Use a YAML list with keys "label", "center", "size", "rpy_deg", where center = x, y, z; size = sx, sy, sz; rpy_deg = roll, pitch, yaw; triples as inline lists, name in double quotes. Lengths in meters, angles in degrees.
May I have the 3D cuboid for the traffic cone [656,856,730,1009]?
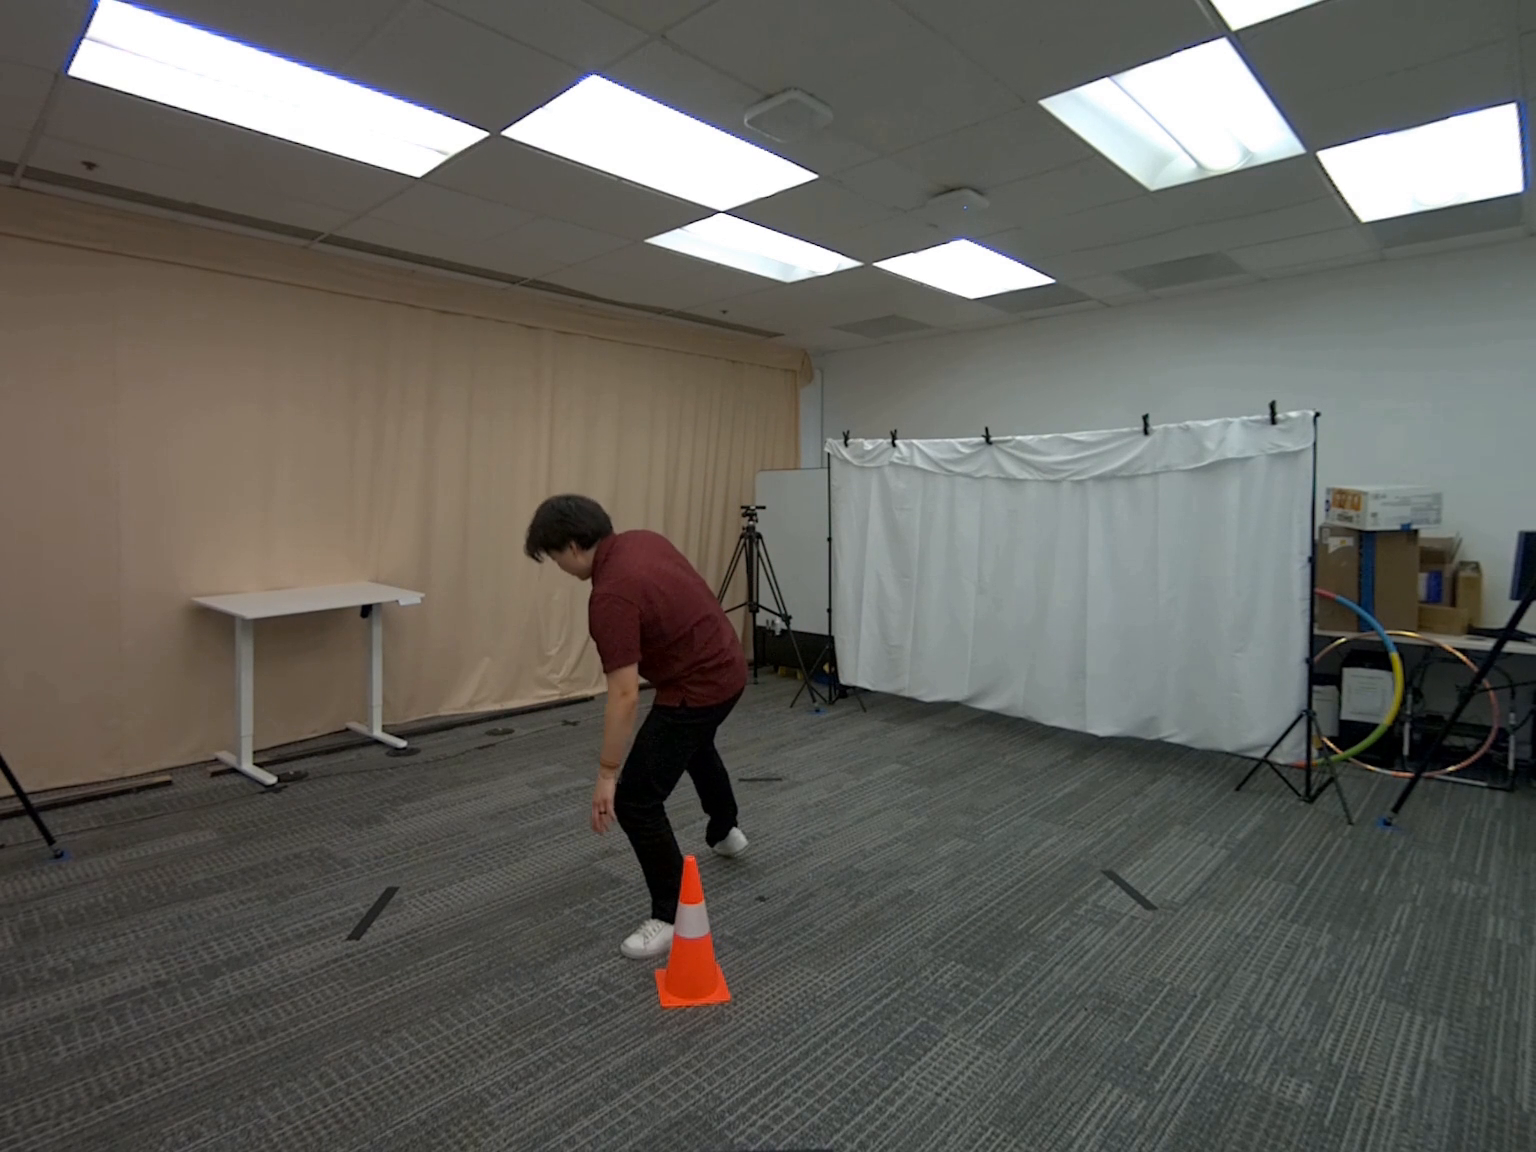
- label: "traffic cone"
  center: [-0.214, 1.000, 2.442]
  size: [0.200, 0.383, 0.208]
  rpy_deg: [0, 2, -15]
